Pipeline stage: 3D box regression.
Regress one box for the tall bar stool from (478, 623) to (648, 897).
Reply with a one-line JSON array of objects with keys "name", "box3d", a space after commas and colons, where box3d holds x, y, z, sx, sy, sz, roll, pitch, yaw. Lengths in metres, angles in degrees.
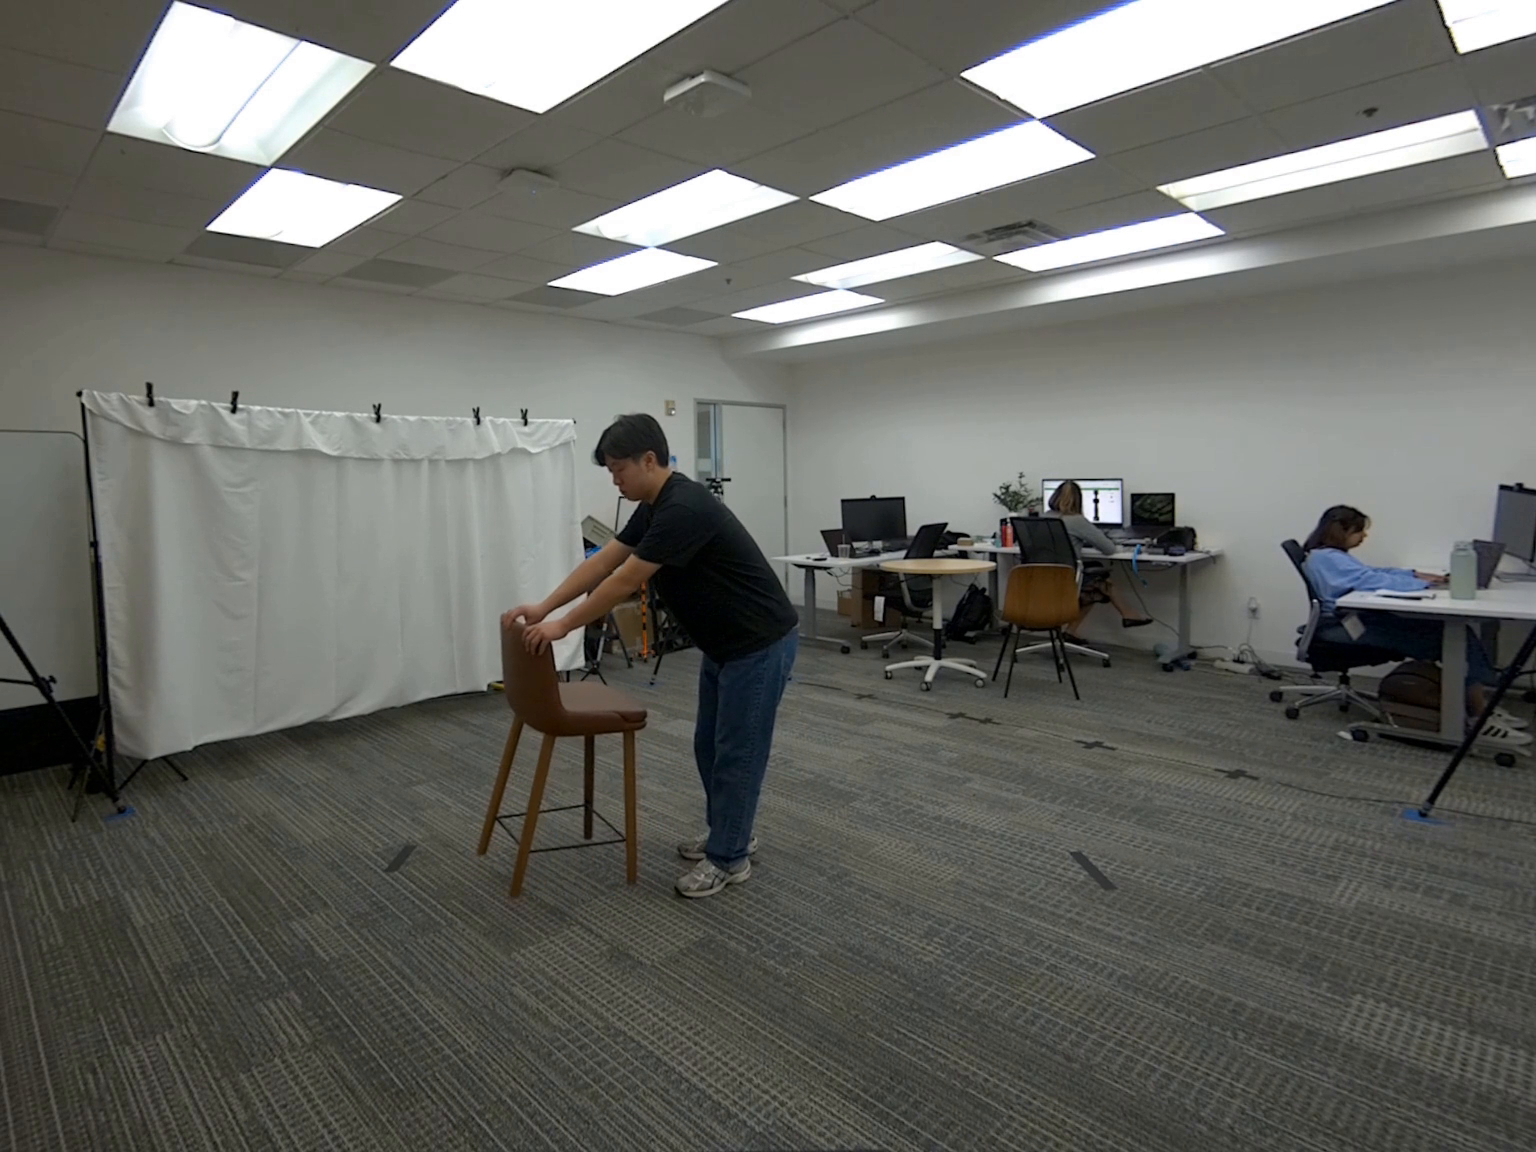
[{"name": "tall bar stool", "box3d": [-0.709, 0.596, 2.999, 0.454, 0.888, 0.470, 3, 4, -35]}]
